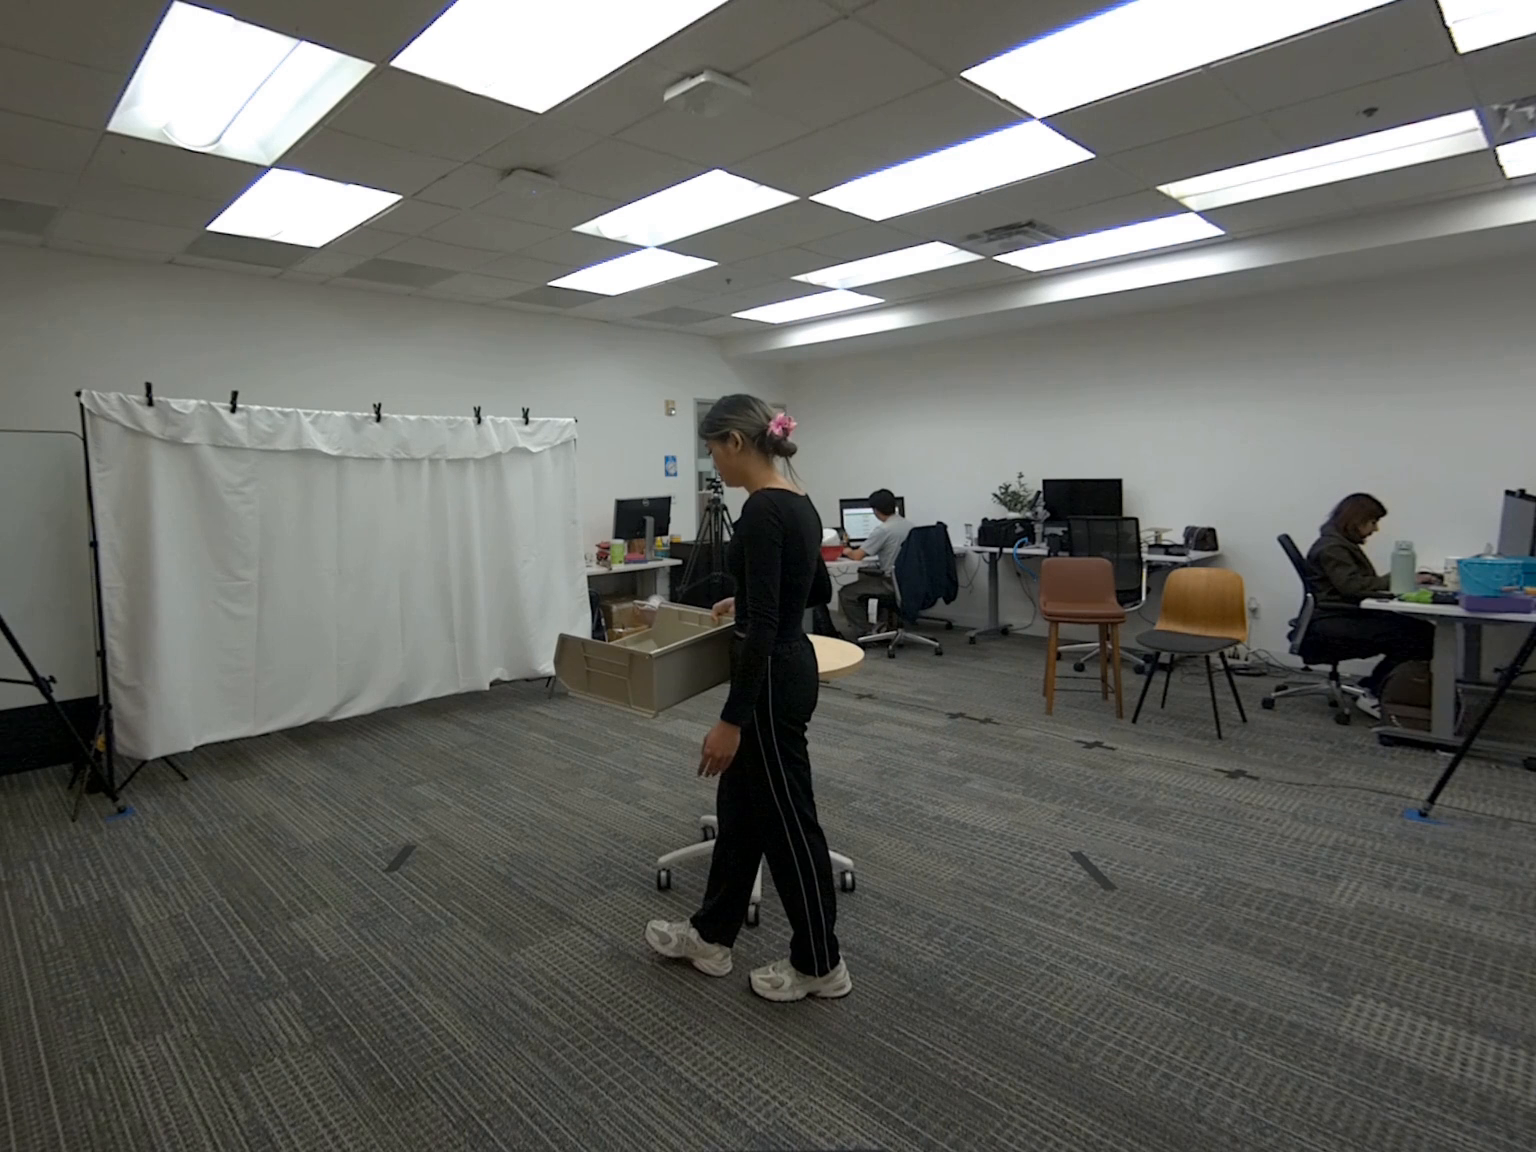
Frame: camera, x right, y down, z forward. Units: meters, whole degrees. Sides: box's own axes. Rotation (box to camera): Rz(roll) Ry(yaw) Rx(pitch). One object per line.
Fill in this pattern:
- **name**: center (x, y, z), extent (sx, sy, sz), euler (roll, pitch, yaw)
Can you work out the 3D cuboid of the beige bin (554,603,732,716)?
- **beige bin**: center (-0.328, 0.222, 2.427), extent (0.389, 0.187, 0.413), euler (8, 13, 34)
